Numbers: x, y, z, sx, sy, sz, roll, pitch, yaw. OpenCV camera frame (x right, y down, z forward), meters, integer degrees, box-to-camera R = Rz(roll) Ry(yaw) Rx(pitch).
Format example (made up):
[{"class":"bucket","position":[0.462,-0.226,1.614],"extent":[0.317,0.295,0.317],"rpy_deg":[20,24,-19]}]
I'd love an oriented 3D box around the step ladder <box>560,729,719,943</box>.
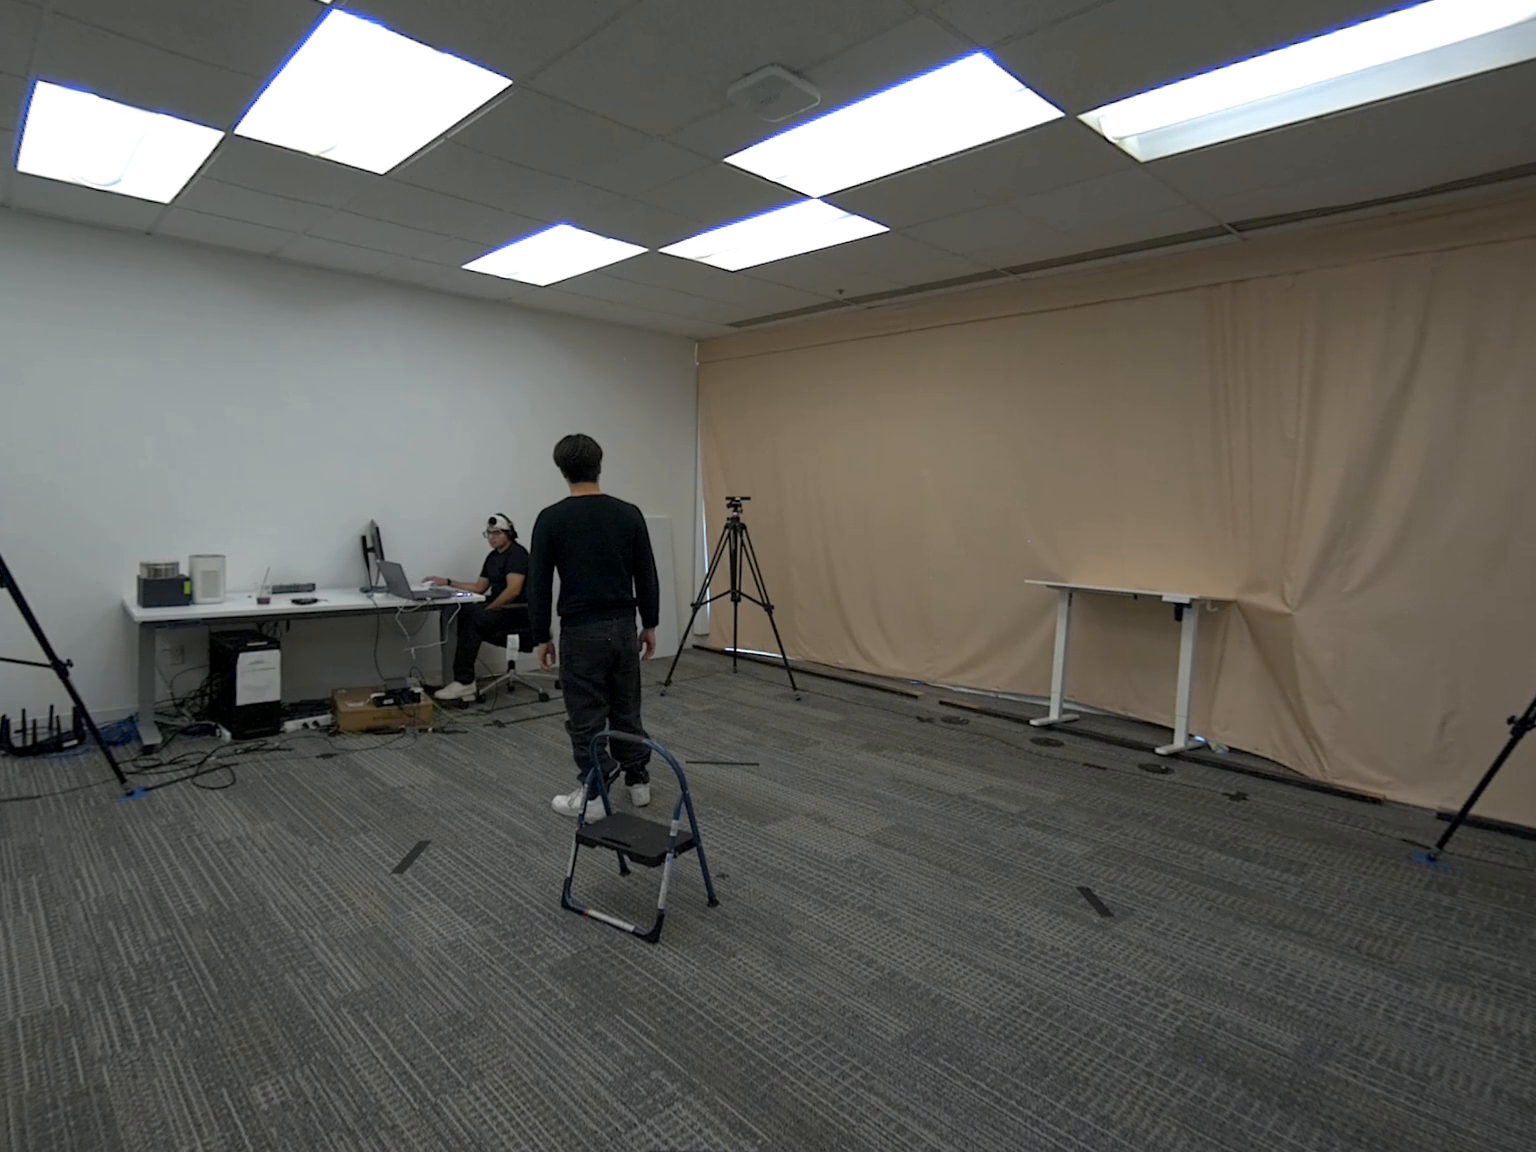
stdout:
[{"class":"step ladder","position":[-0.435,0.820,2.851],"extent":[0.440,0.605,0.342],"rpy_deg":[4,4,32]}]
